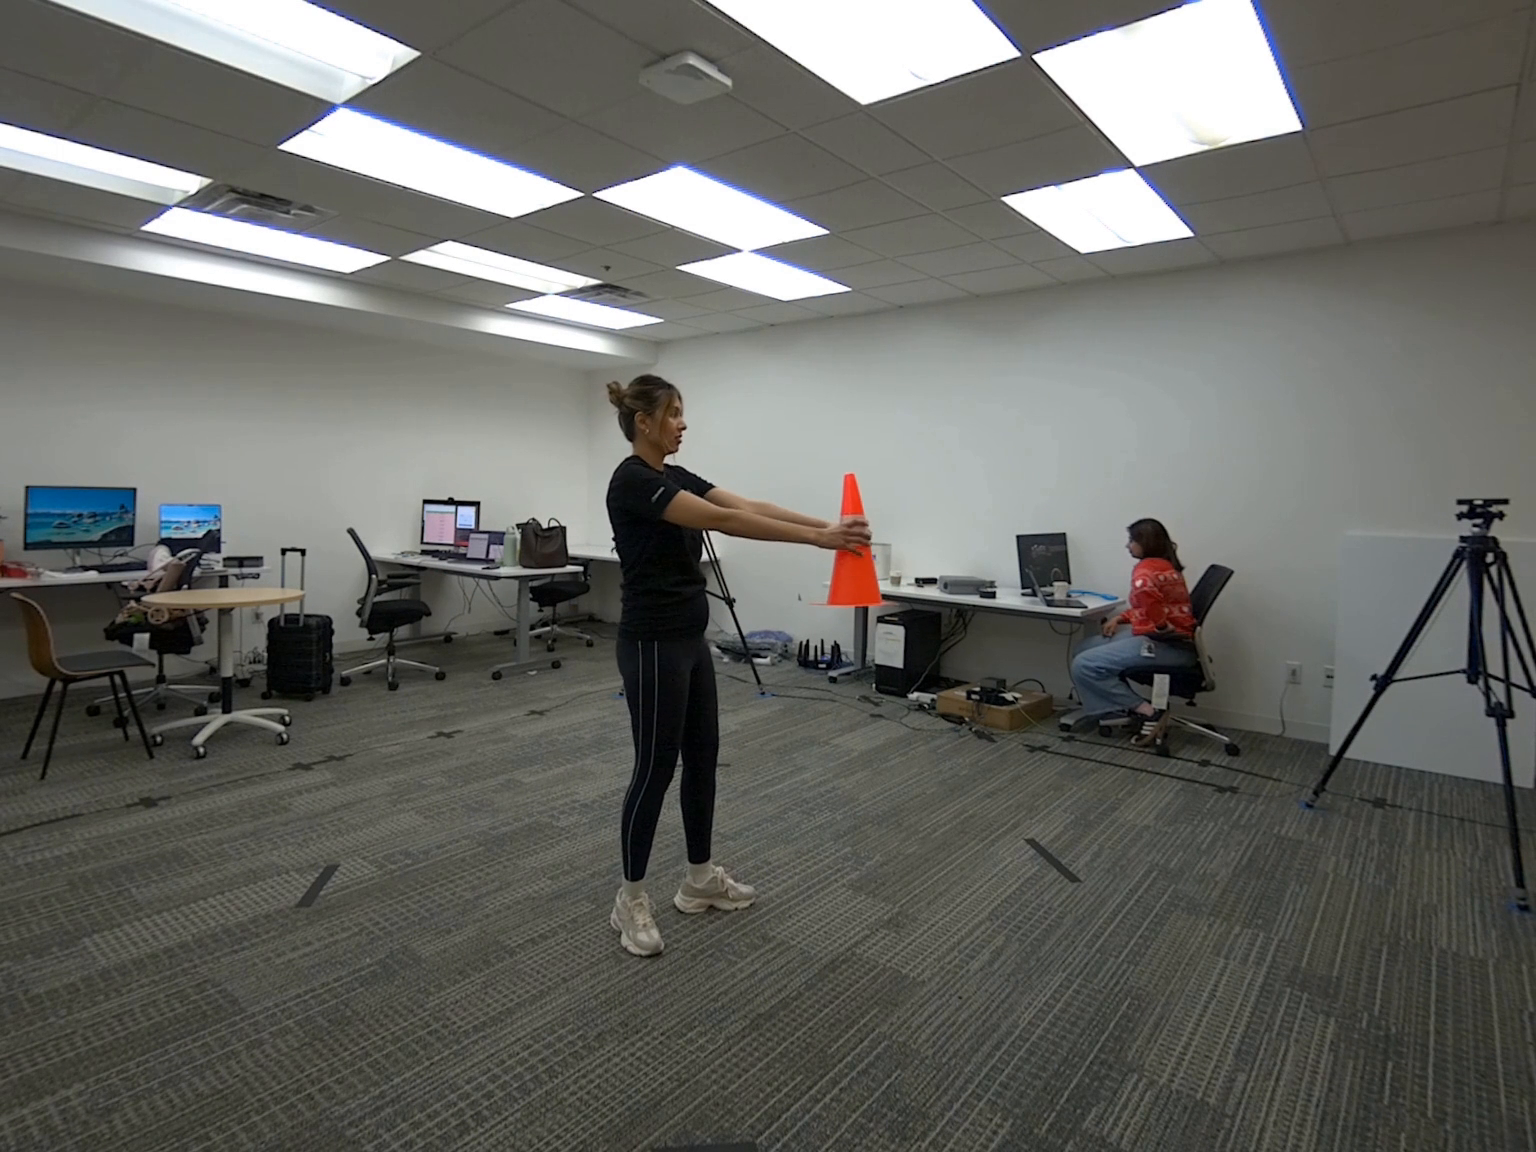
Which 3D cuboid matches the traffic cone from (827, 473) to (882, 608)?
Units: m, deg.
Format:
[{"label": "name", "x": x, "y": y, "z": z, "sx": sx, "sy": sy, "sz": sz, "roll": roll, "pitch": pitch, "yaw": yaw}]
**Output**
[{"label": "traffic cone", "x": 0.237, "y": -0.109, "z": 2.466, "sx": 0.202, "sy": 0.385, "sz": 0.205, "roll": -1, "pitch": -3, "yaw": -6}]
